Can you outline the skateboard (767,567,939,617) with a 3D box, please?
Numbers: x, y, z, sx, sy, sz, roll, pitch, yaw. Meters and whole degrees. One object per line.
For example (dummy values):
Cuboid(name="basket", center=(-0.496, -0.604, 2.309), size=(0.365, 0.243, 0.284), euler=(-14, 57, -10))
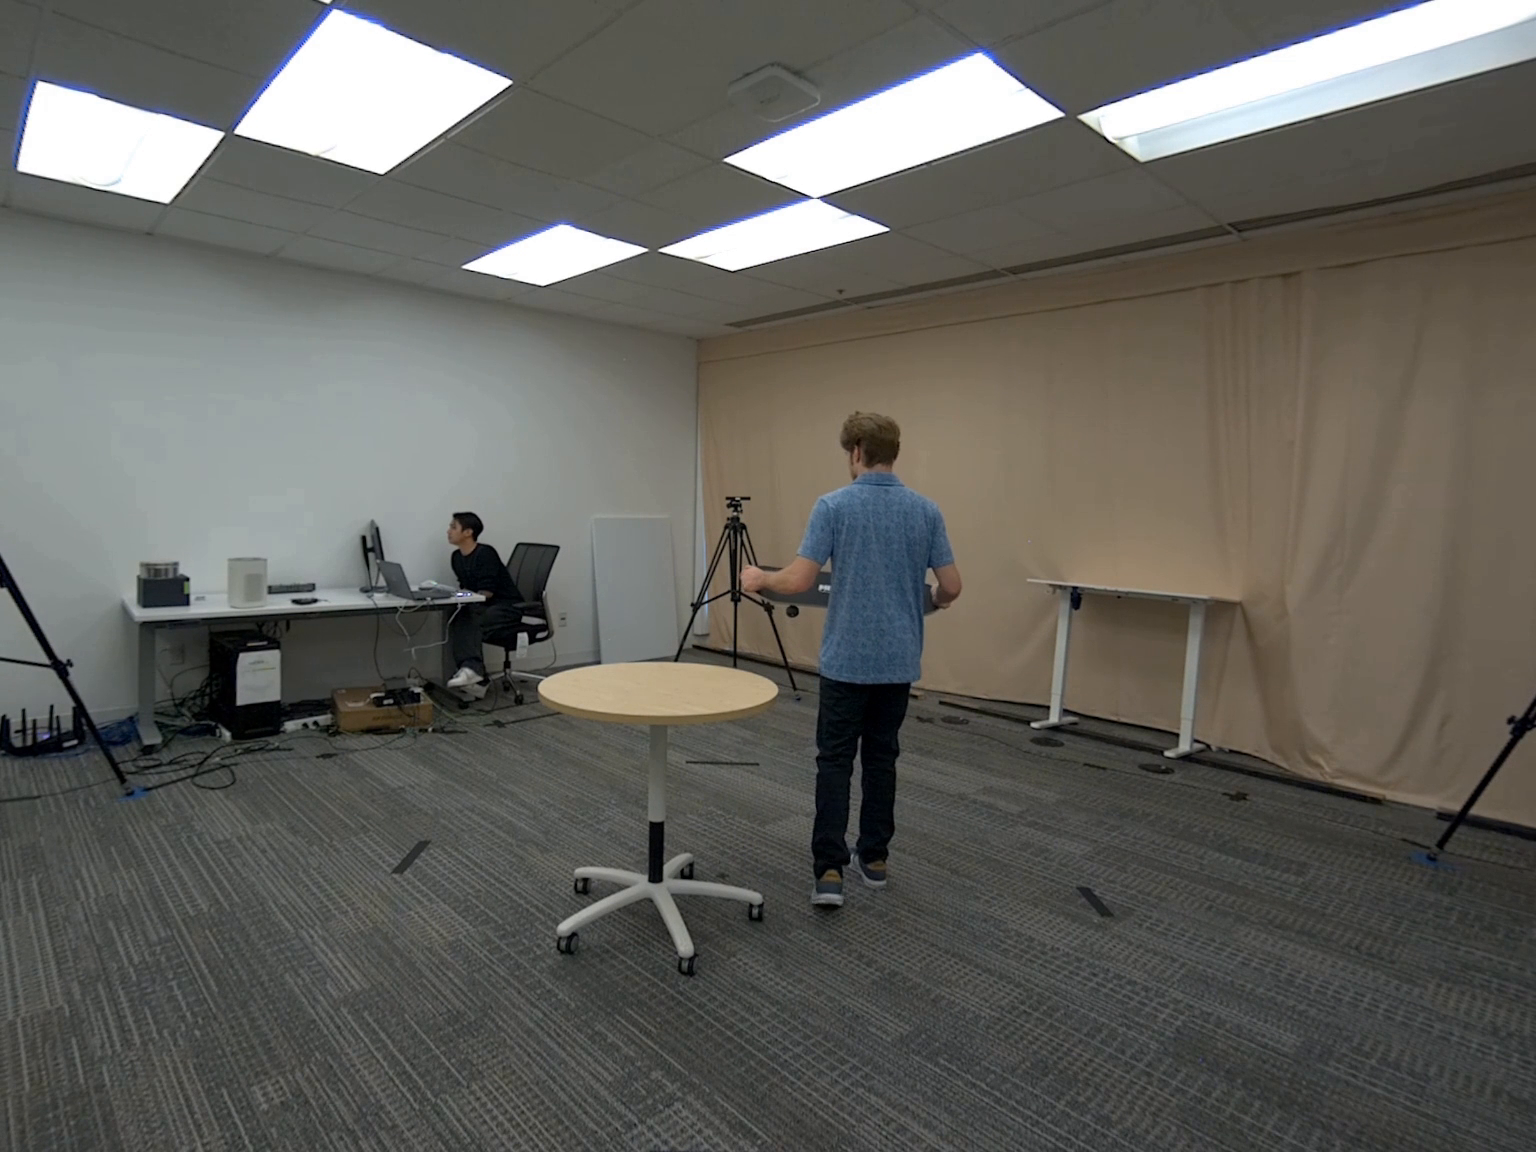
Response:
Cuboid(name="skateboard", center=(0.285, 0.080, 3.296), size=(0.780, 0.108, 0.198), euler=(6, 39, -8))
